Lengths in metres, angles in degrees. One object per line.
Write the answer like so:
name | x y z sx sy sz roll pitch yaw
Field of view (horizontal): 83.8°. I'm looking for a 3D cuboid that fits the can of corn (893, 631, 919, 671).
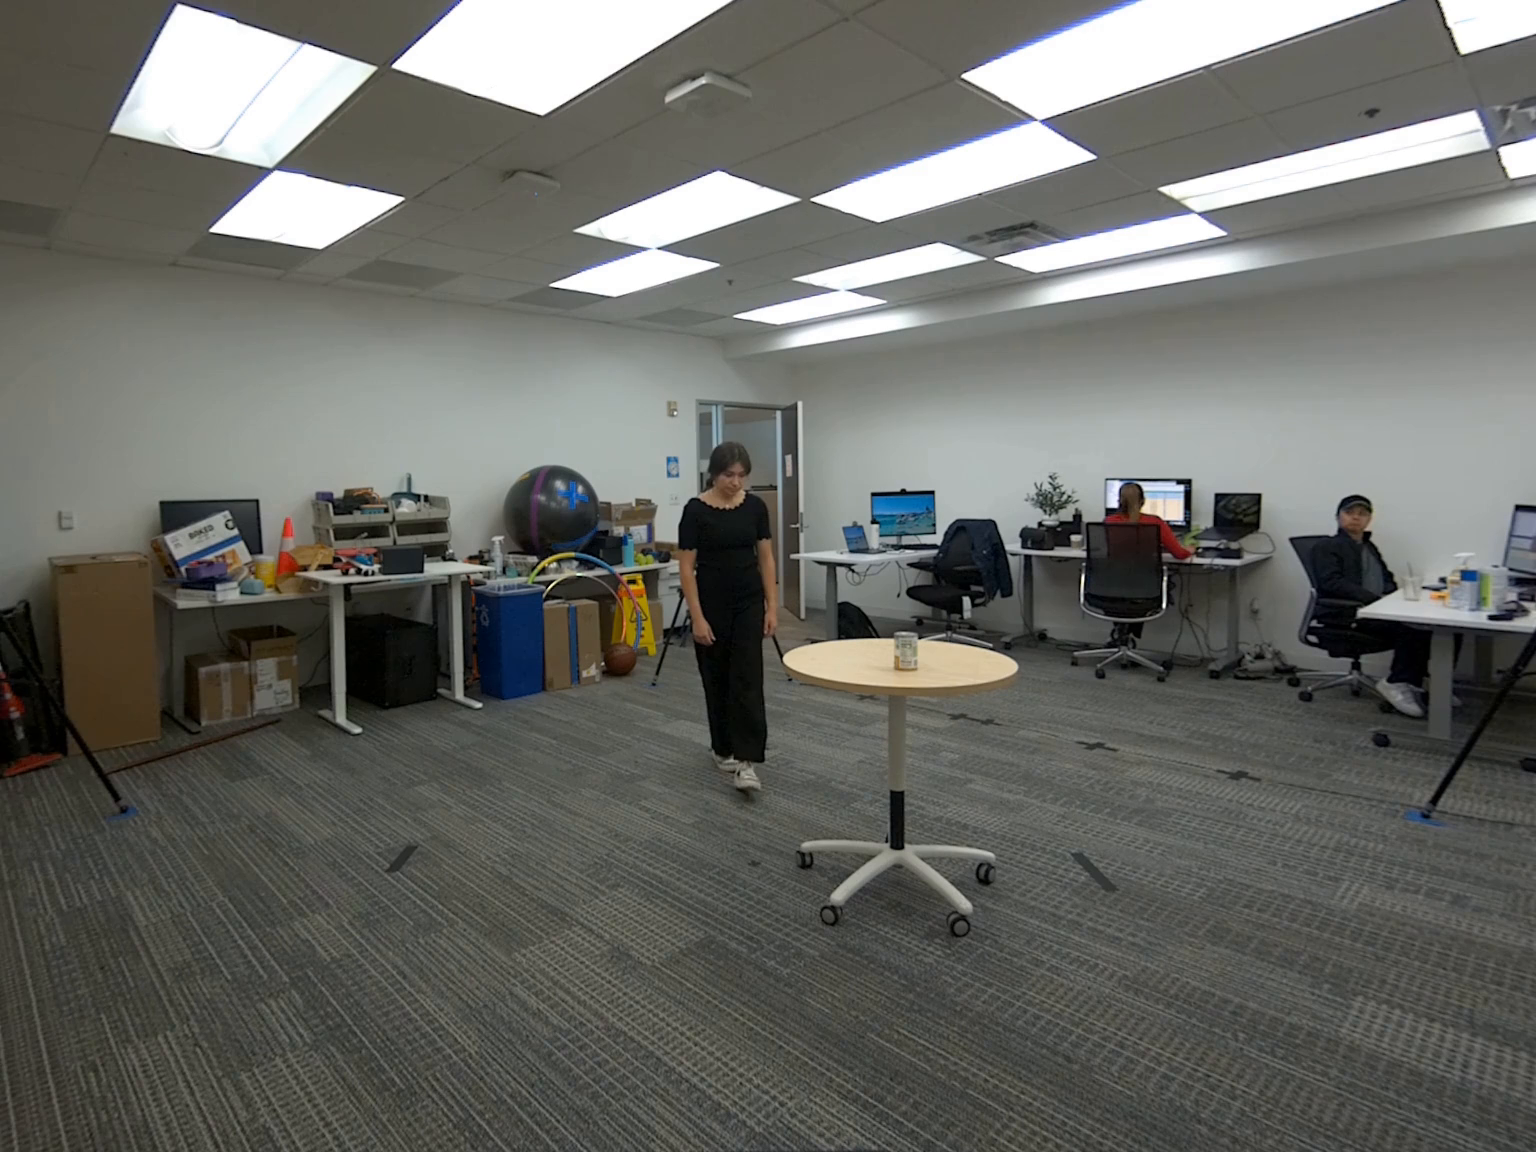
can of corn | 0.447 0.244 2.710 0.074 0.110 0.075 2 6 -2
